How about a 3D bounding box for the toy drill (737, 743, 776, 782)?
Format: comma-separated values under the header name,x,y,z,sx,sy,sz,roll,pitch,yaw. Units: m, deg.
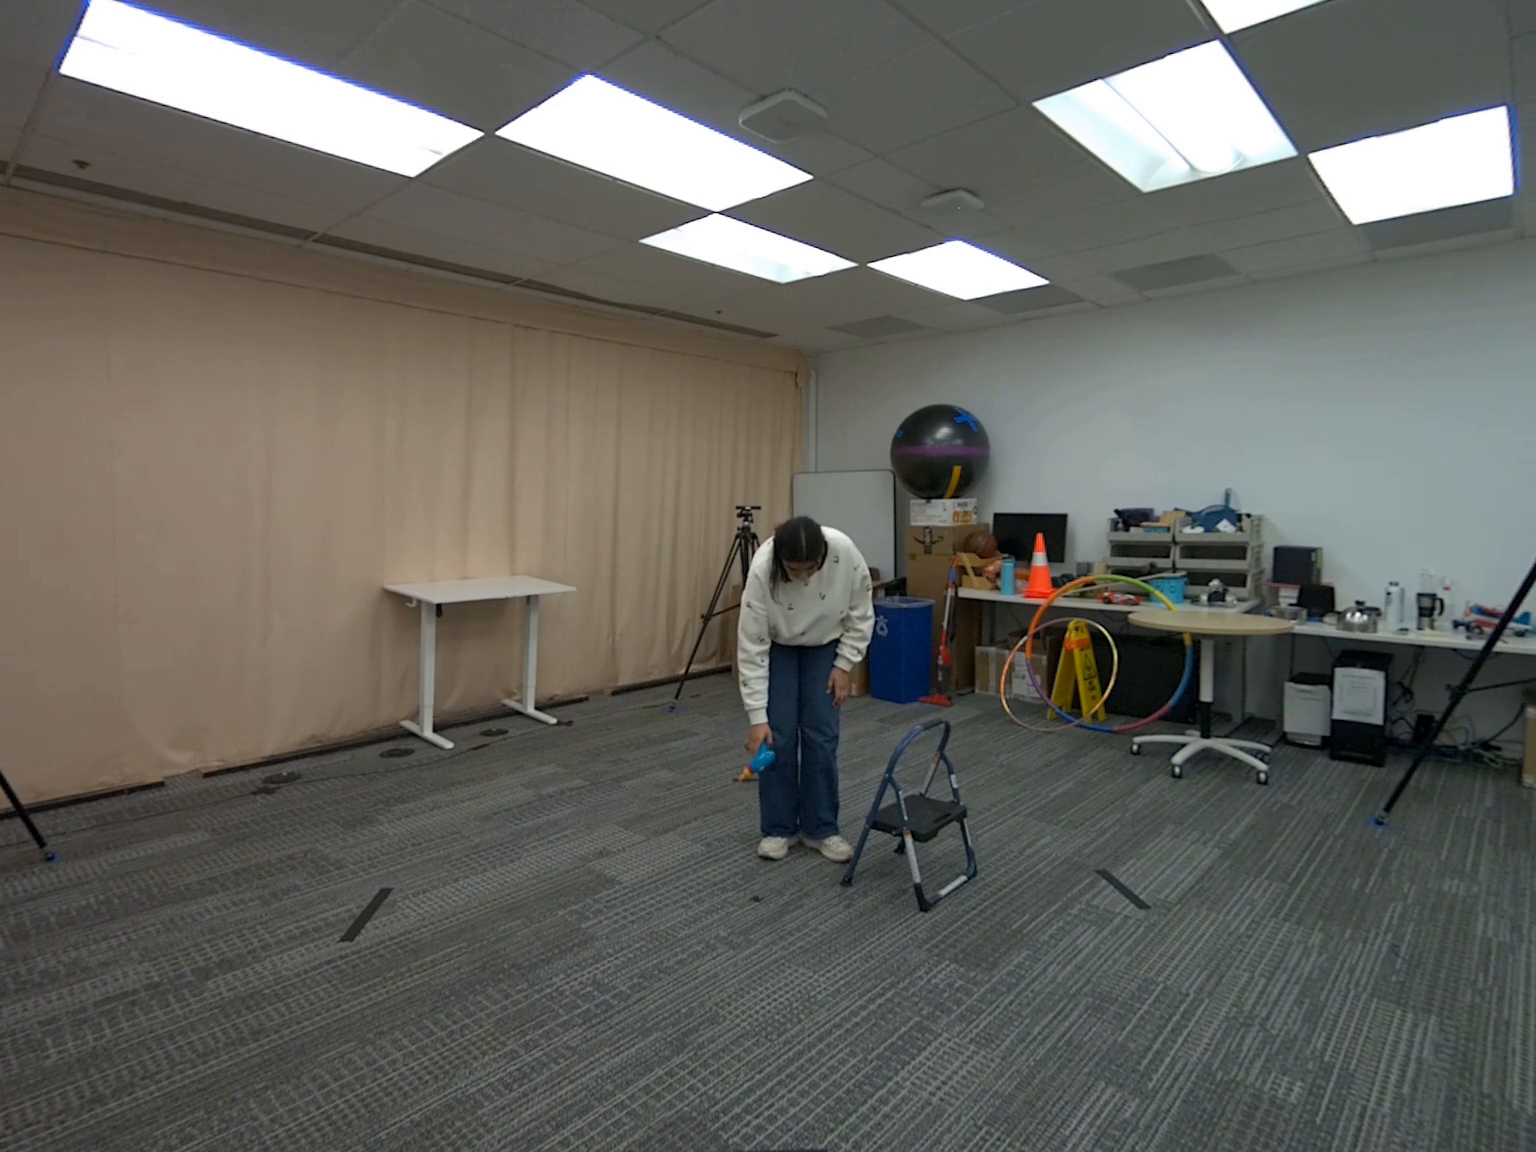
name,x,y,z,sx,sy,sz,roll,pitch,yaw
toy drill,-0.044,0.693,3.163,0.060,0.170,0.149,43,9,-19
